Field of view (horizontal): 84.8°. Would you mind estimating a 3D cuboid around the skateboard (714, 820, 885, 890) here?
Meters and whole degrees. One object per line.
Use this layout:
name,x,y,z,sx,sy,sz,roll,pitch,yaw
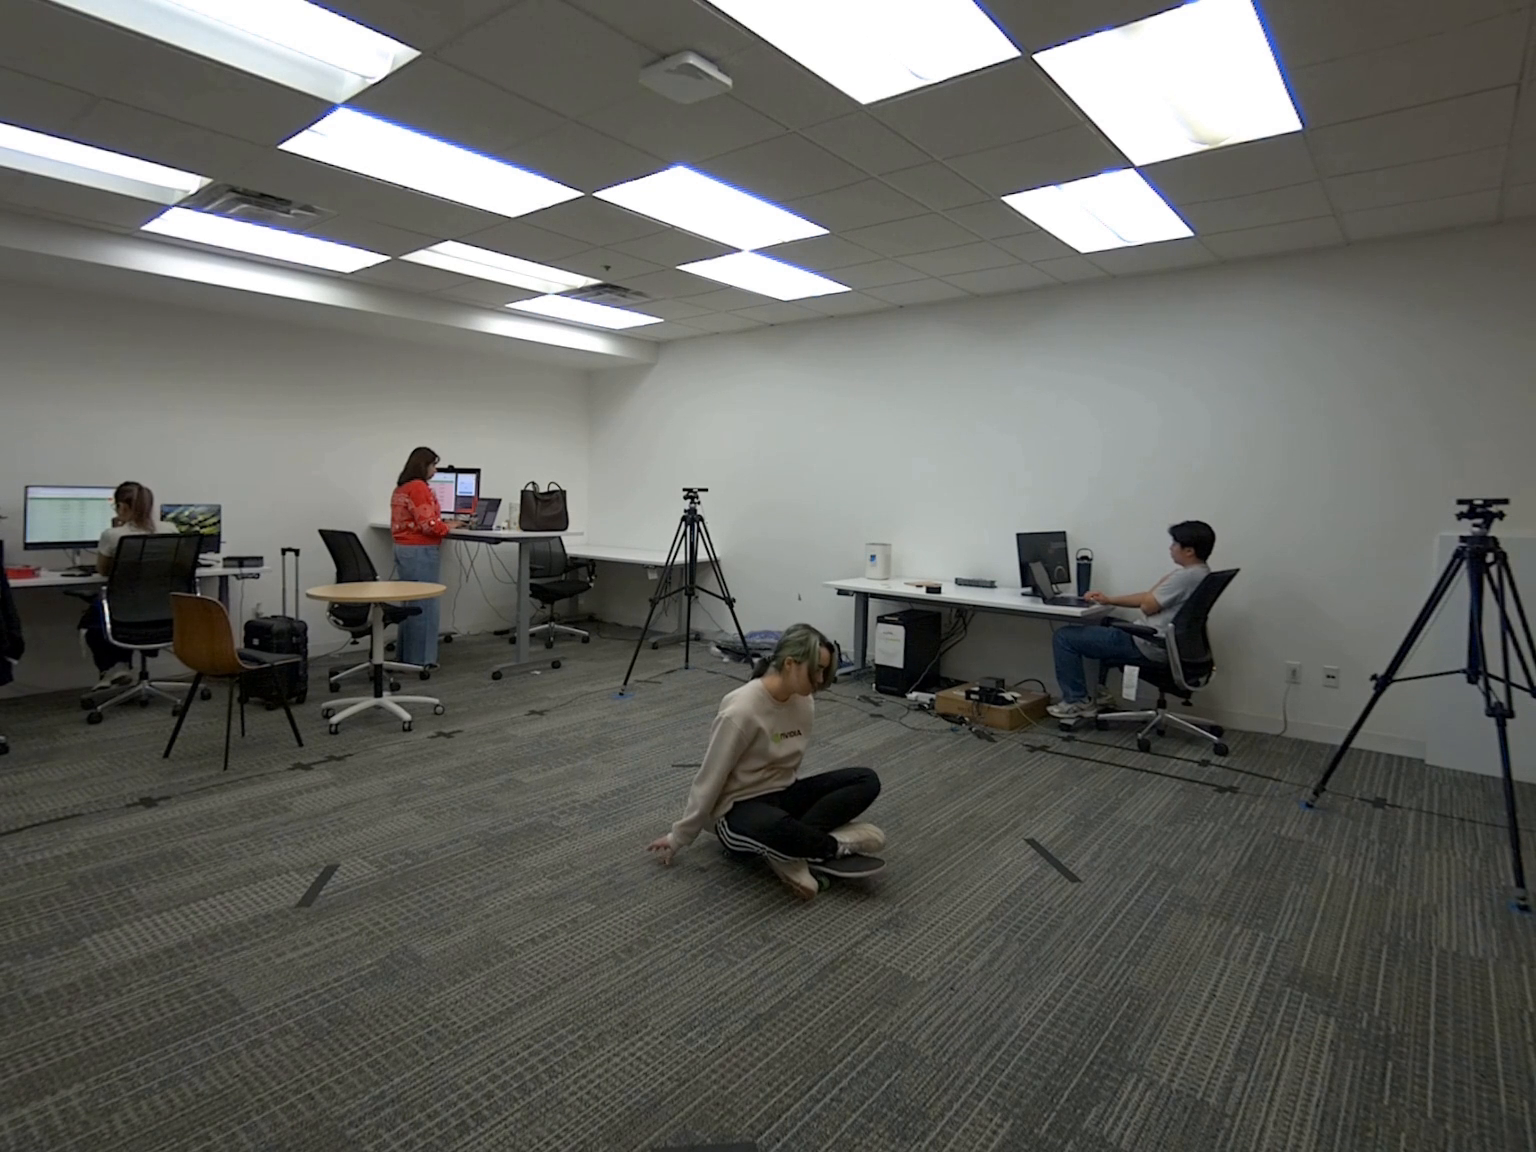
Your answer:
skateboard,0.058,1.021,3.137,0.810,0.110,0.188,3,3,34
